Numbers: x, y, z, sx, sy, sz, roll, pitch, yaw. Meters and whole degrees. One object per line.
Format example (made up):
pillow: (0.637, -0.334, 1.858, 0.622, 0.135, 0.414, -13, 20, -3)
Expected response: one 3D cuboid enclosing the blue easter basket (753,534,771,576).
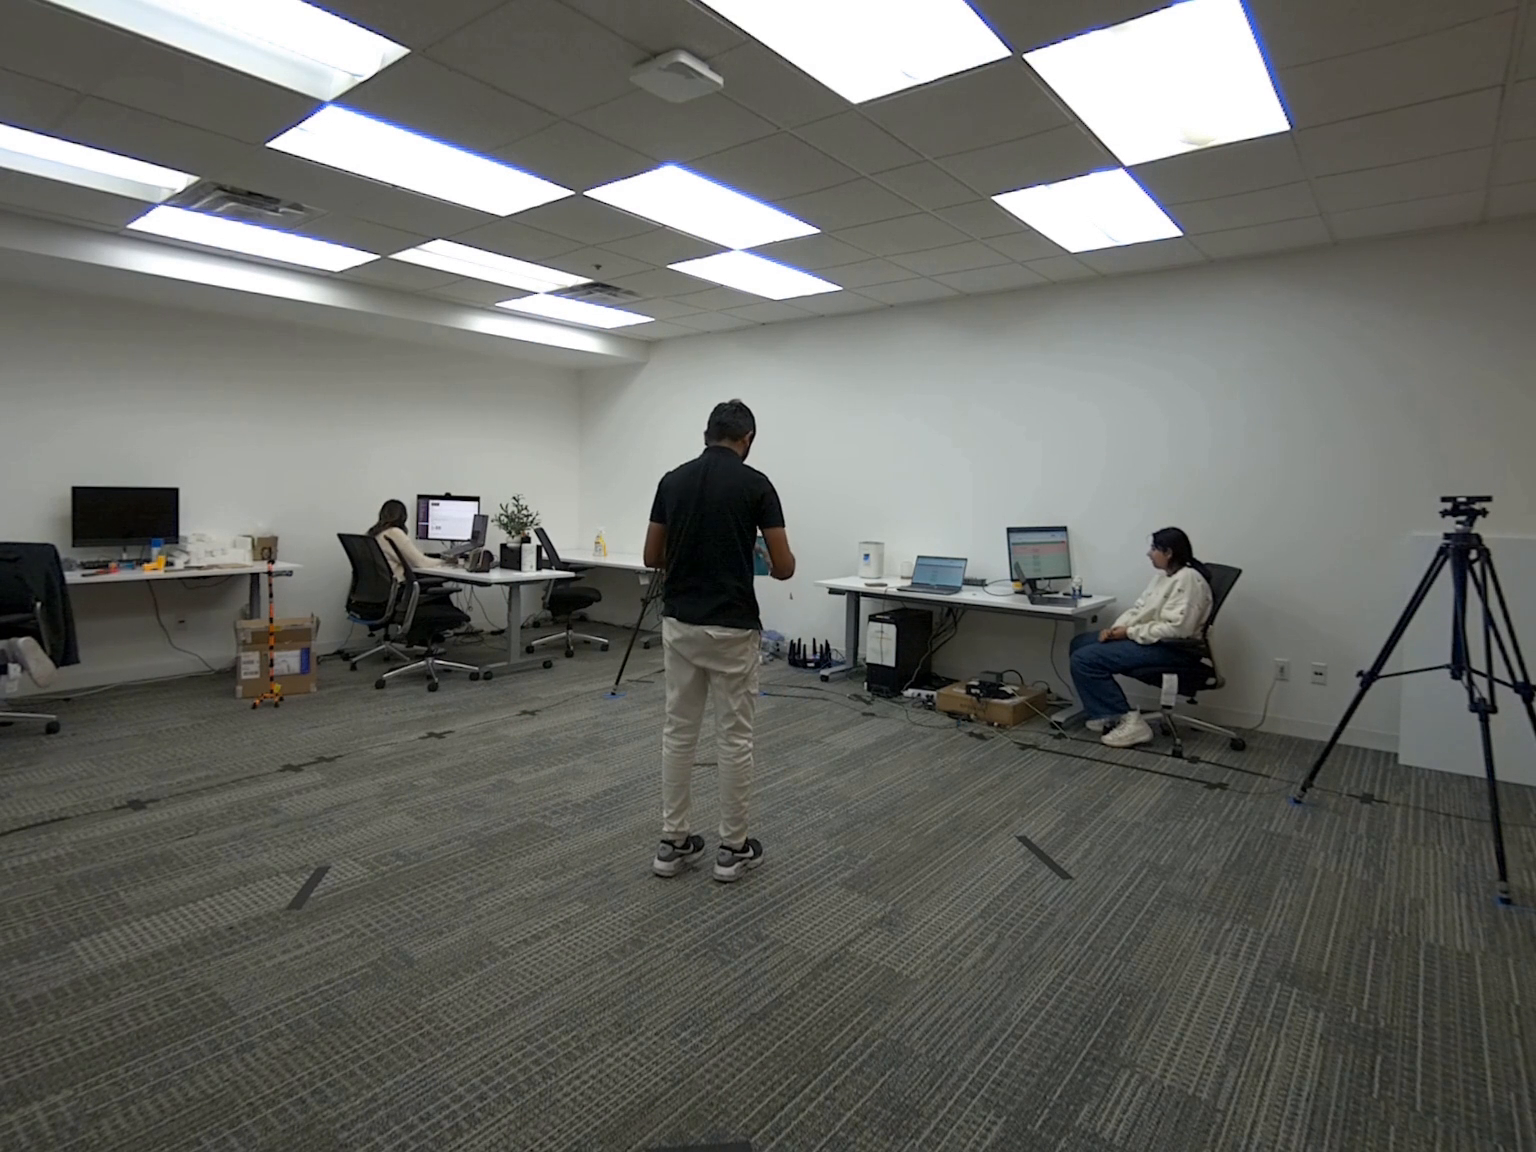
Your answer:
blue easter basket: (-0.096, -0.092, 3.435, 0.243, 0.156, 0.243, 4, -1, -2)
